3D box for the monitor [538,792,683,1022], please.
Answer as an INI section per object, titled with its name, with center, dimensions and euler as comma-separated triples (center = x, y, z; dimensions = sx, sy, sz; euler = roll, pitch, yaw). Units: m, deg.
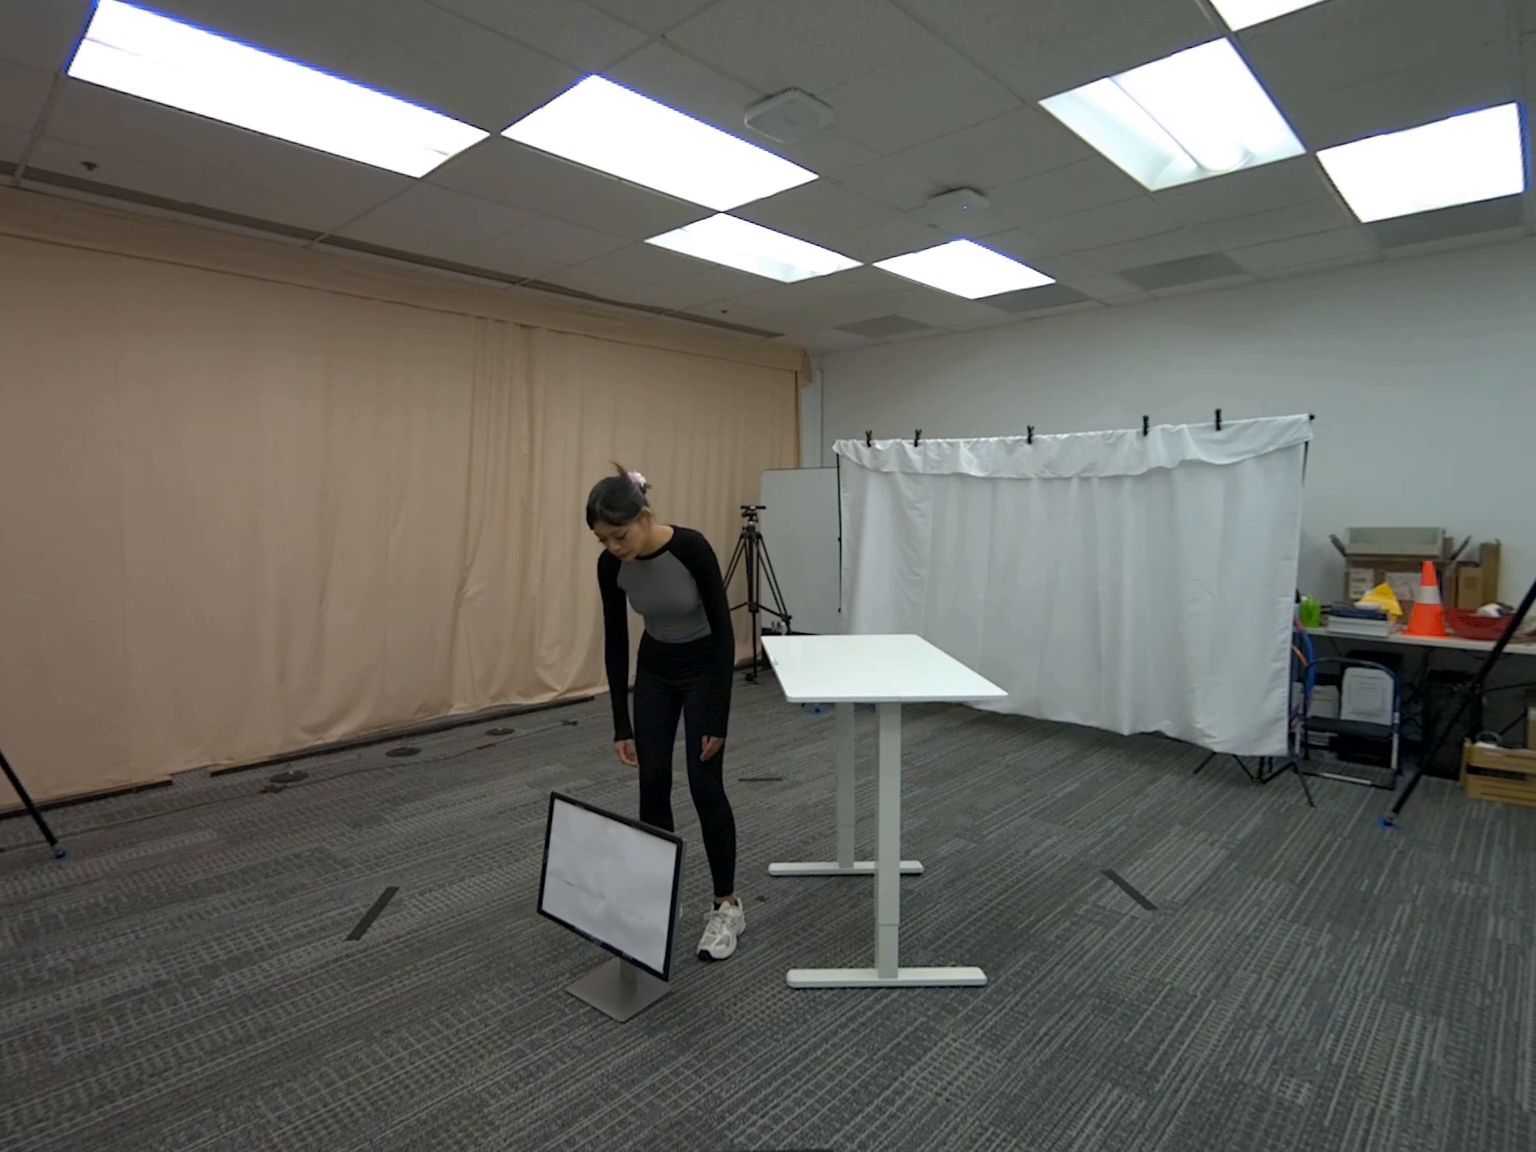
[monitor]
center = -0.426, 0.935, 2.401
dimensions = 0.556, 0.521, 0.182
euler = 3, 6, 38
